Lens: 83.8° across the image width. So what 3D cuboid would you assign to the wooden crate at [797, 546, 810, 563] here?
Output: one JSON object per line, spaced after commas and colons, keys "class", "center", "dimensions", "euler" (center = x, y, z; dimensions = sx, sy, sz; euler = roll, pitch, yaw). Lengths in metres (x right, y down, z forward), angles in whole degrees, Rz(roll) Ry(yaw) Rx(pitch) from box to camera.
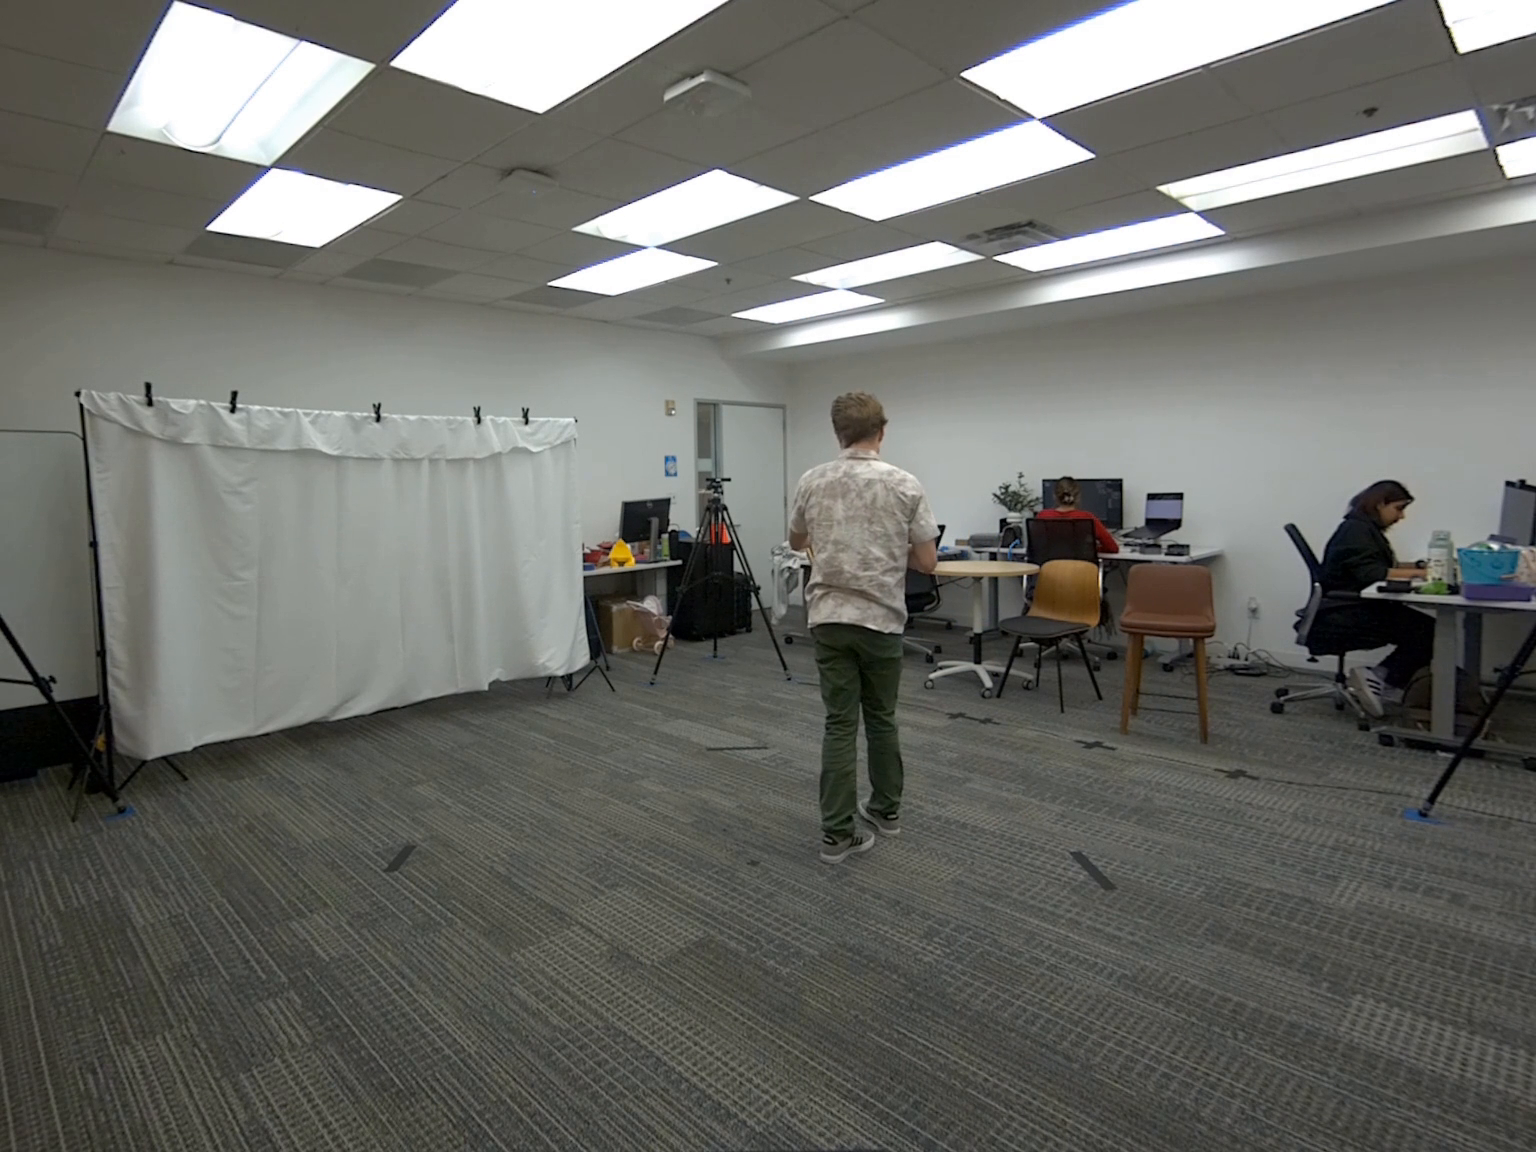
{"class": "wooden crate", "center": [0.375, -0.107, 3.574], "dimensions": [0.297, 0.270, 0.333], "euler": [15, 22, -14]}
